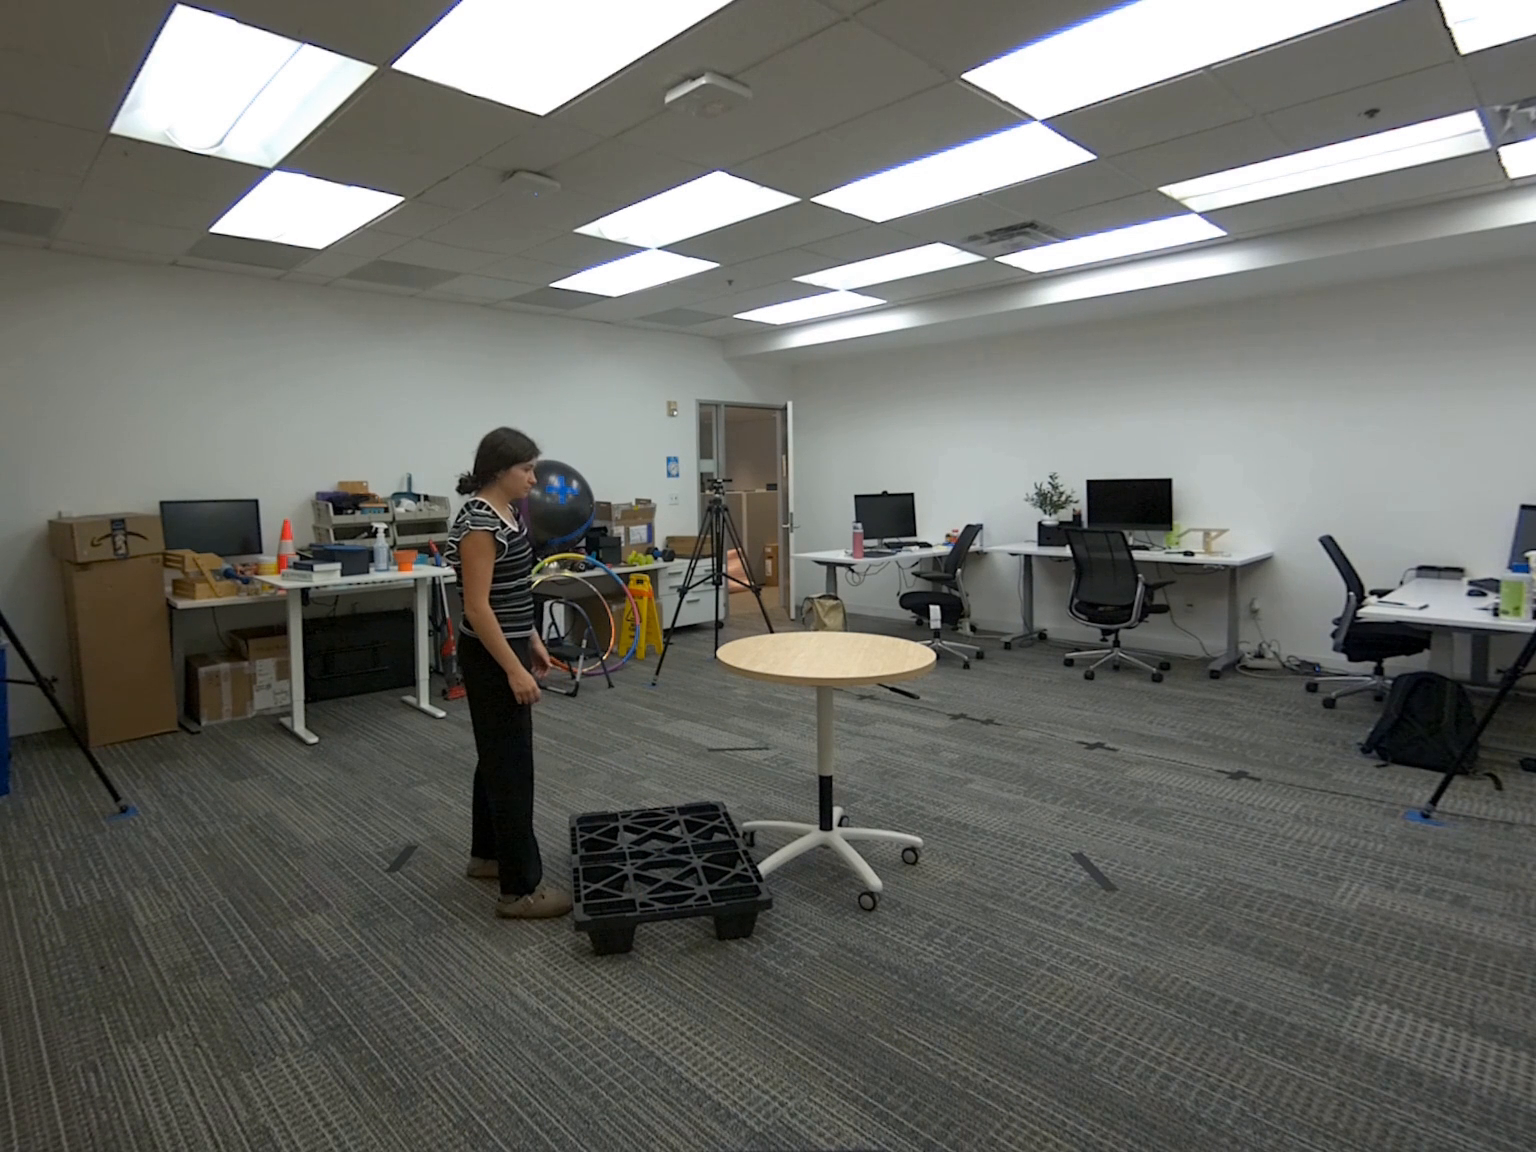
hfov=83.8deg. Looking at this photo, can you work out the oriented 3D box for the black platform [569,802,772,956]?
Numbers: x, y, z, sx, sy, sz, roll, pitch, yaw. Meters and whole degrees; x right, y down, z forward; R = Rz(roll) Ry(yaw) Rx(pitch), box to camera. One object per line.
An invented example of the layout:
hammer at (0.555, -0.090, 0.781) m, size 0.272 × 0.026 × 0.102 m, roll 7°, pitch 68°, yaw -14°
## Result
black platform at (-0.363, 1.003, 2.922) m, size 0.598 × 0.142 × 0.819 m, roll -2°, pitch 7°, yaw -13°
